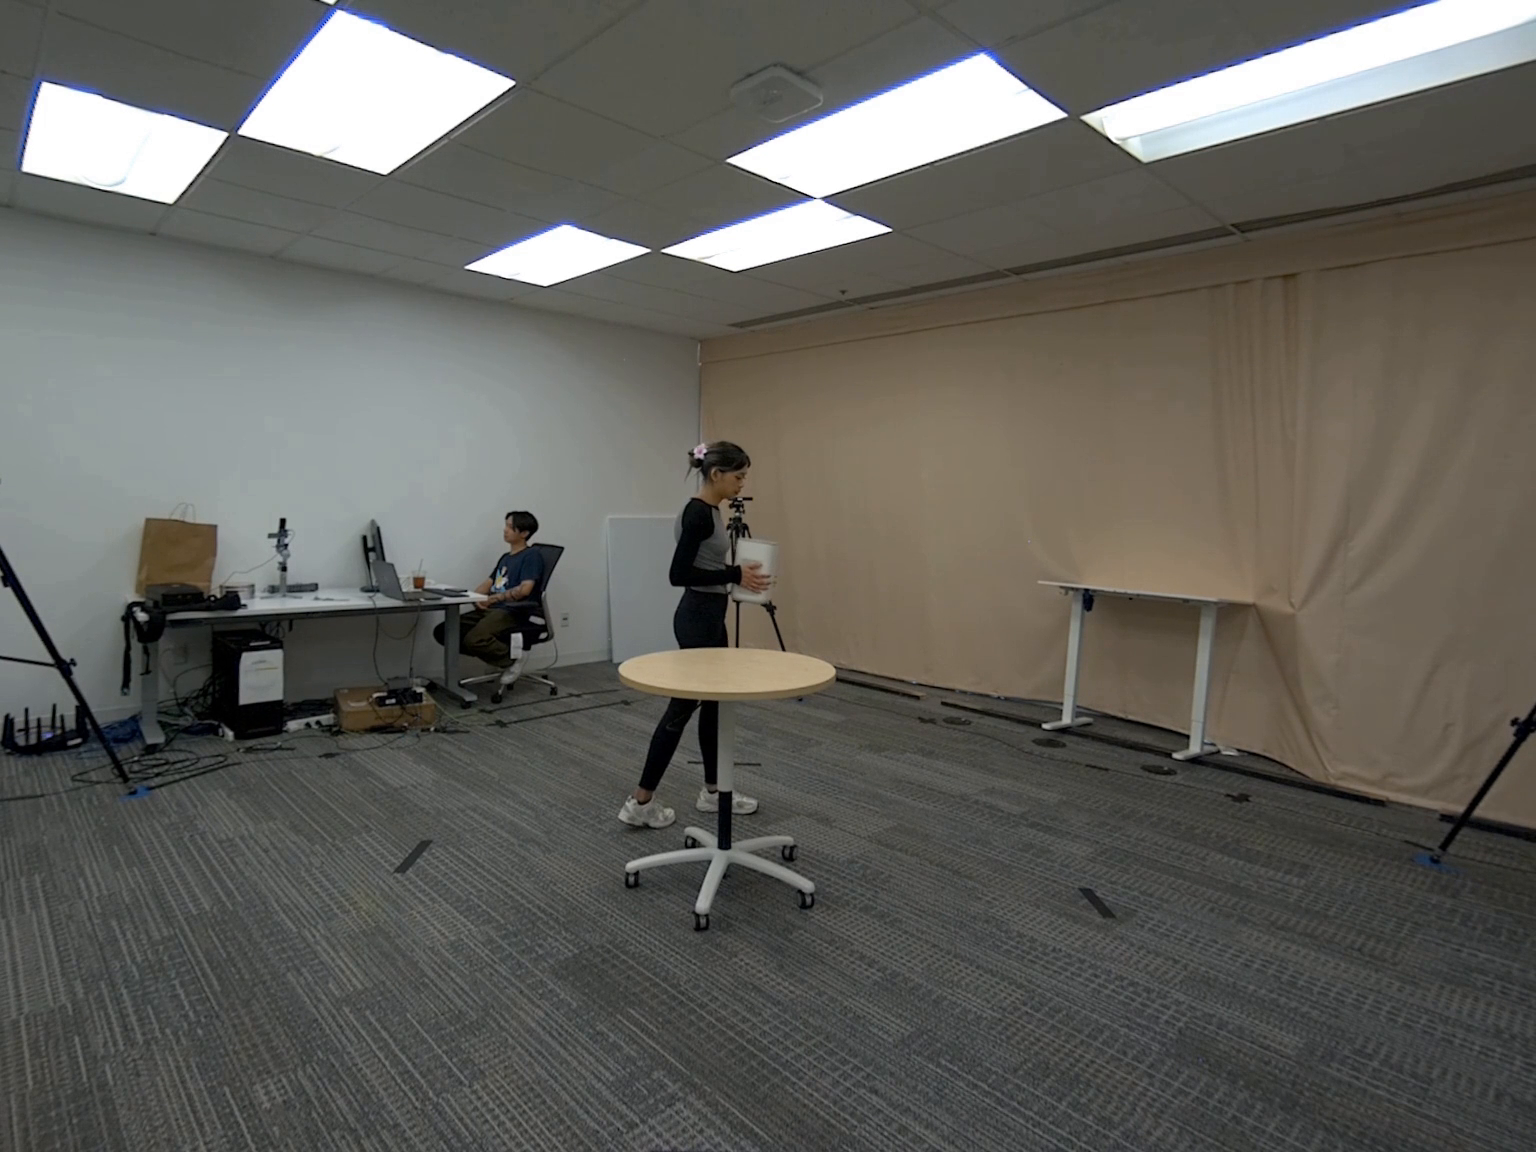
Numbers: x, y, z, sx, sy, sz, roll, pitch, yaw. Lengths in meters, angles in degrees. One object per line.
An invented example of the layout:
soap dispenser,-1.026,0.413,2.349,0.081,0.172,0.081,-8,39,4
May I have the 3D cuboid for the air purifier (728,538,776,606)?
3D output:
air purifier,-0.071,-0.023,3.630,0.173,0.265,0.169,8,4,12
